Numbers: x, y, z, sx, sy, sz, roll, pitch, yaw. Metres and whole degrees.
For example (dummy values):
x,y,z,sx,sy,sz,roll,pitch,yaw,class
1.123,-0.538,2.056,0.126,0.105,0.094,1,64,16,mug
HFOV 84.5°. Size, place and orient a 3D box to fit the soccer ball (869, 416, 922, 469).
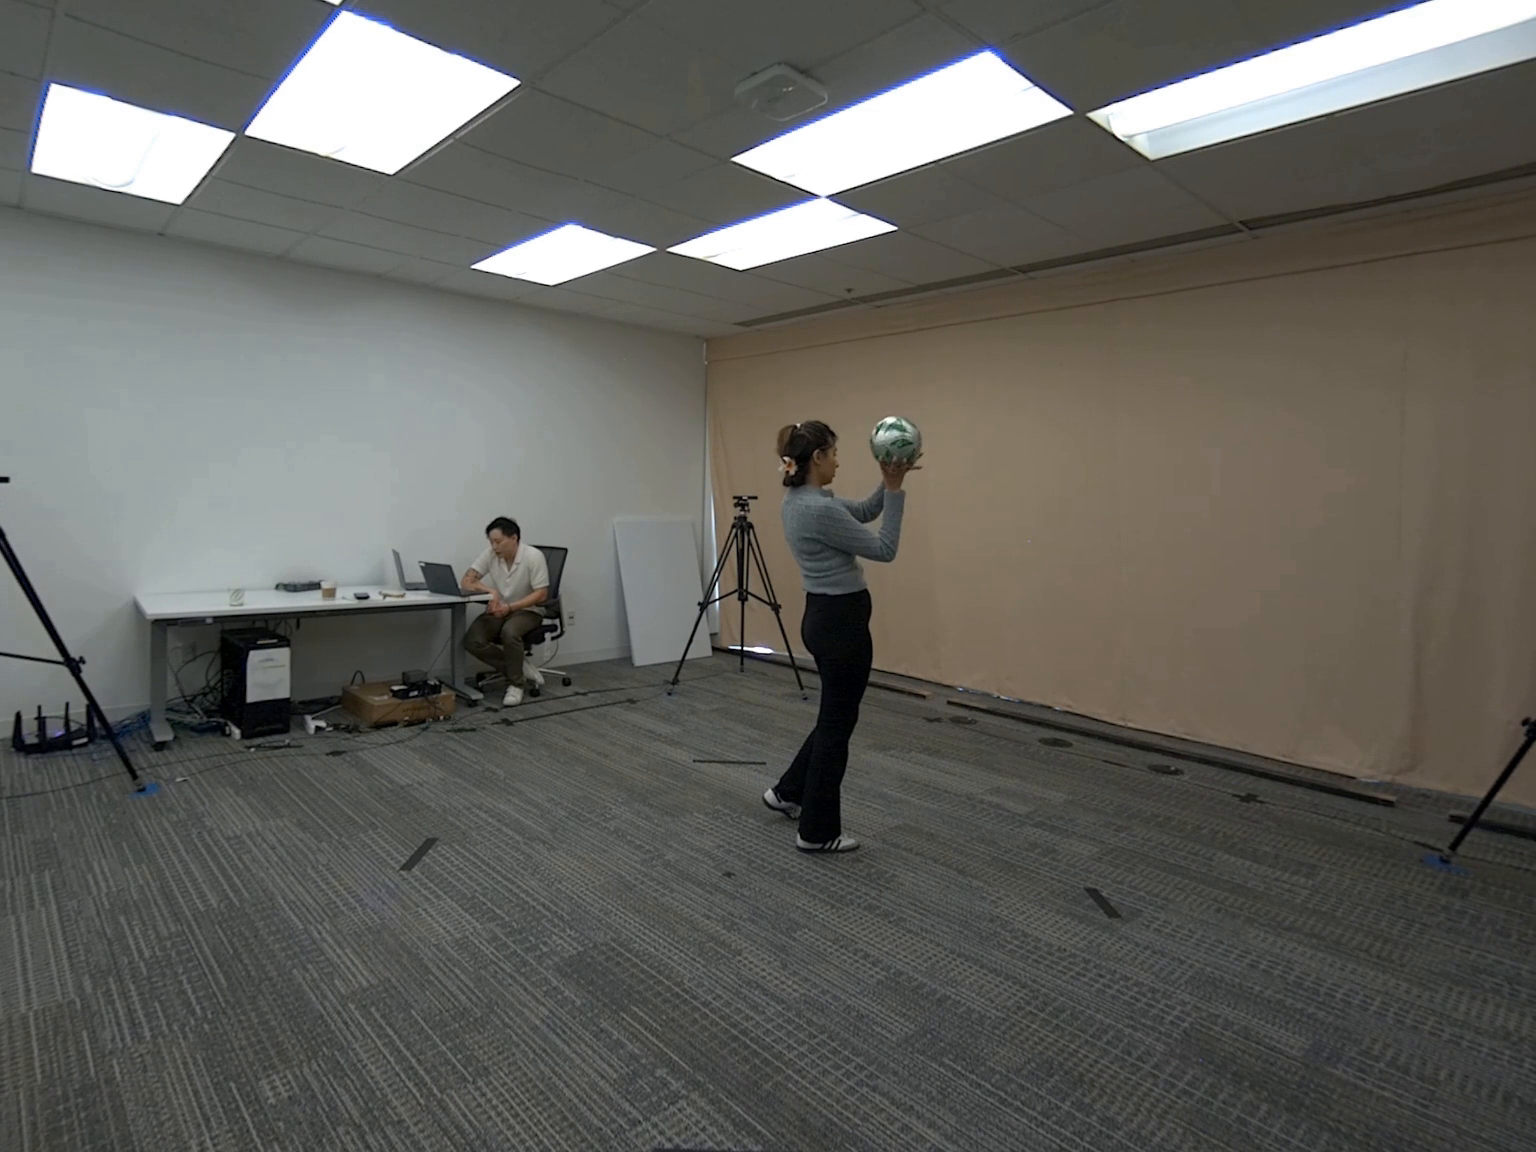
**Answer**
x,y,z,sx,sy,sz,roll,pitch,yaw,class
0.449,-0.482,3.072,0.187,0.187,0.188,1,4,-1,soccer ball
